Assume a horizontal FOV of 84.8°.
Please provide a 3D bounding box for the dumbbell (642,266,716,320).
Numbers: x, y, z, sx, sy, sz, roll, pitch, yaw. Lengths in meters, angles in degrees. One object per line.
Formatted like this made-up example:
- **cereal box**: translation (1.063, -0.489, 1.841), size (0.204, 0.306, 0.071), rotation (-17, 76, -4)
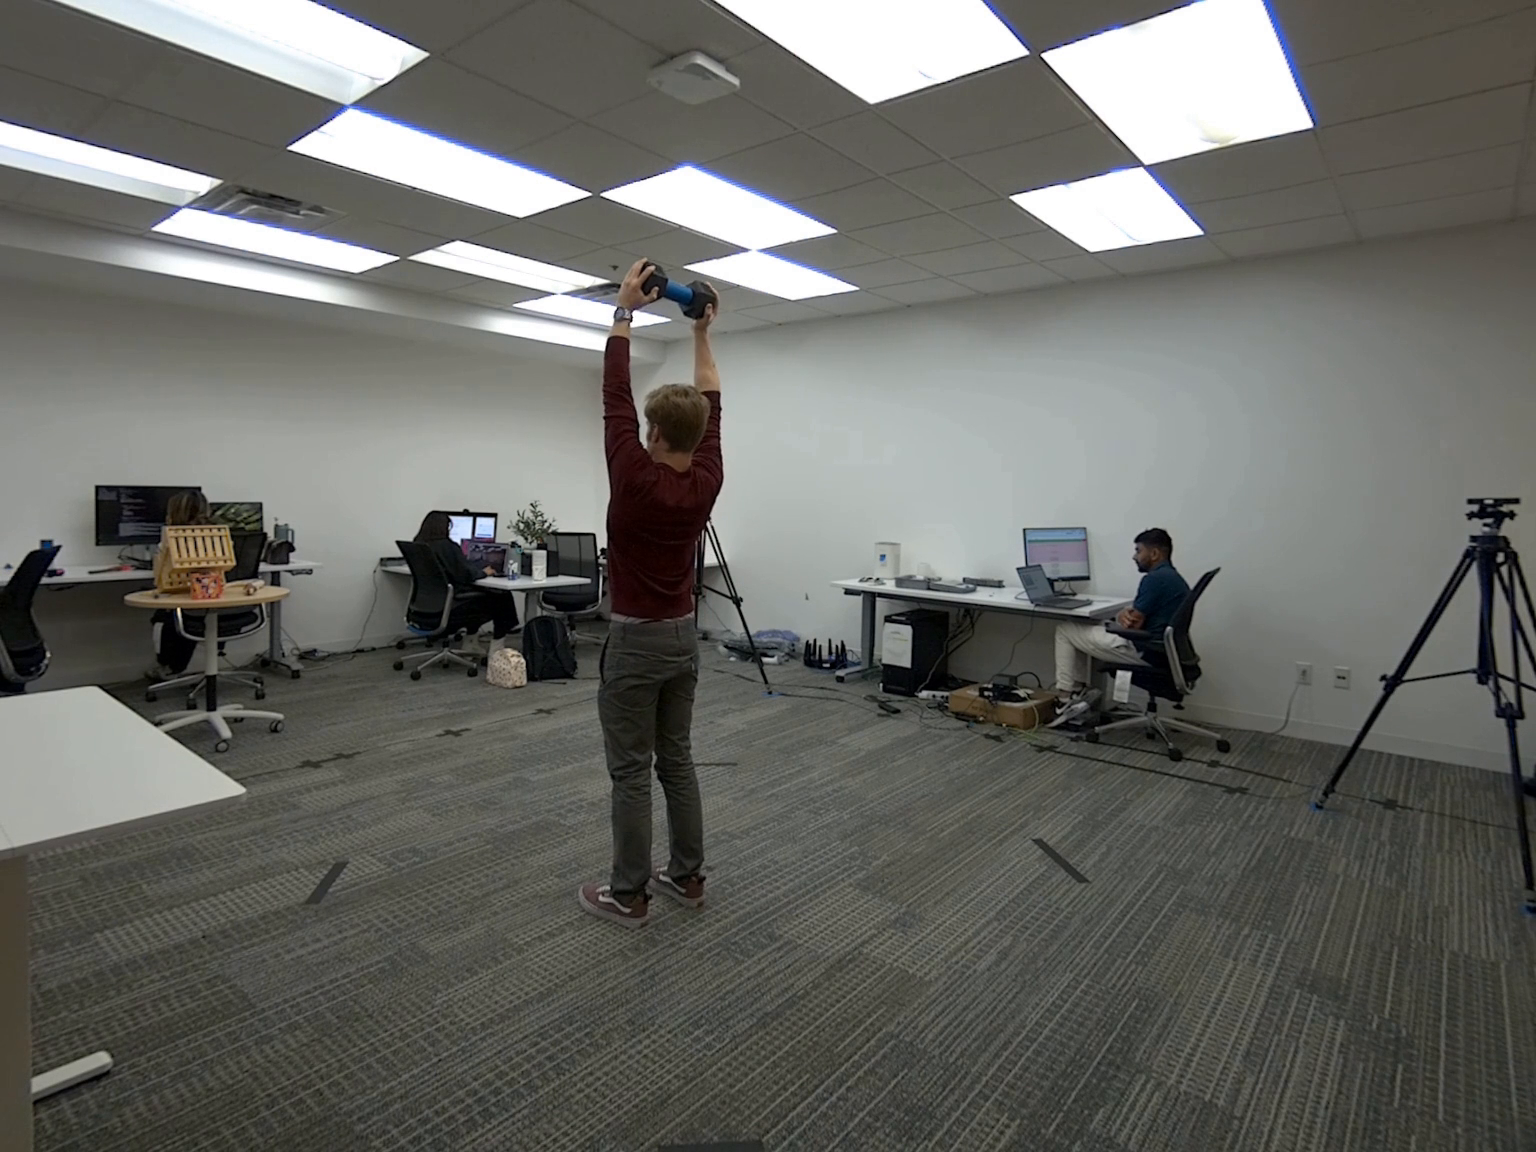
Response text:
- **dumbbell**: translation (-0.325, -0.920, 2.770), size (0.283, 0.122, 0.113), rotation (6, 20, -44)
